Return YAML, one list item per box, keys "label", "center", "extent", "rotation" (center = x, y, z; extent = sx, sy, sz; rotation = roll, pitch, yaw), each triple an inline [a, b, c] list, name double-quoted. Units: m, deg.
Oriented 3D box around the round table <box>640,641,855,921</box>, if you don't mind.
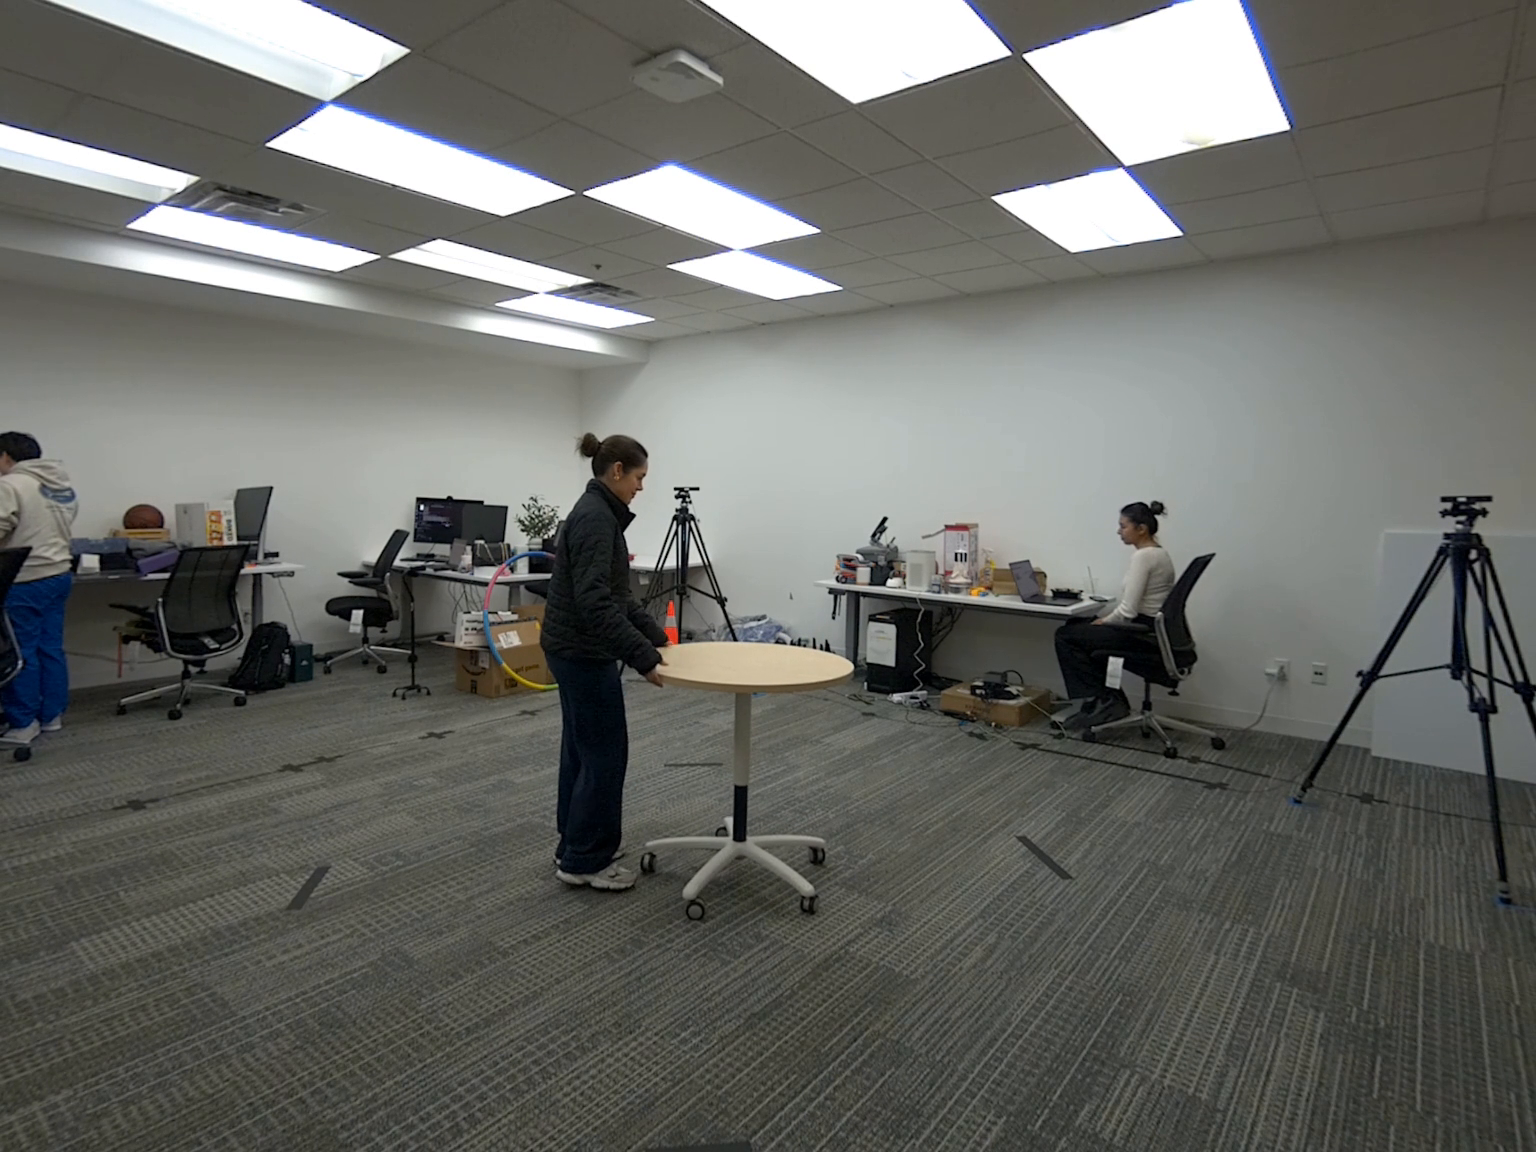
- label: "round table"
  center: [-0.066, 0.685, 3.029]
  extent: [0.784, 0.784, 0.789]
  rotation: [1, 4, -2]
